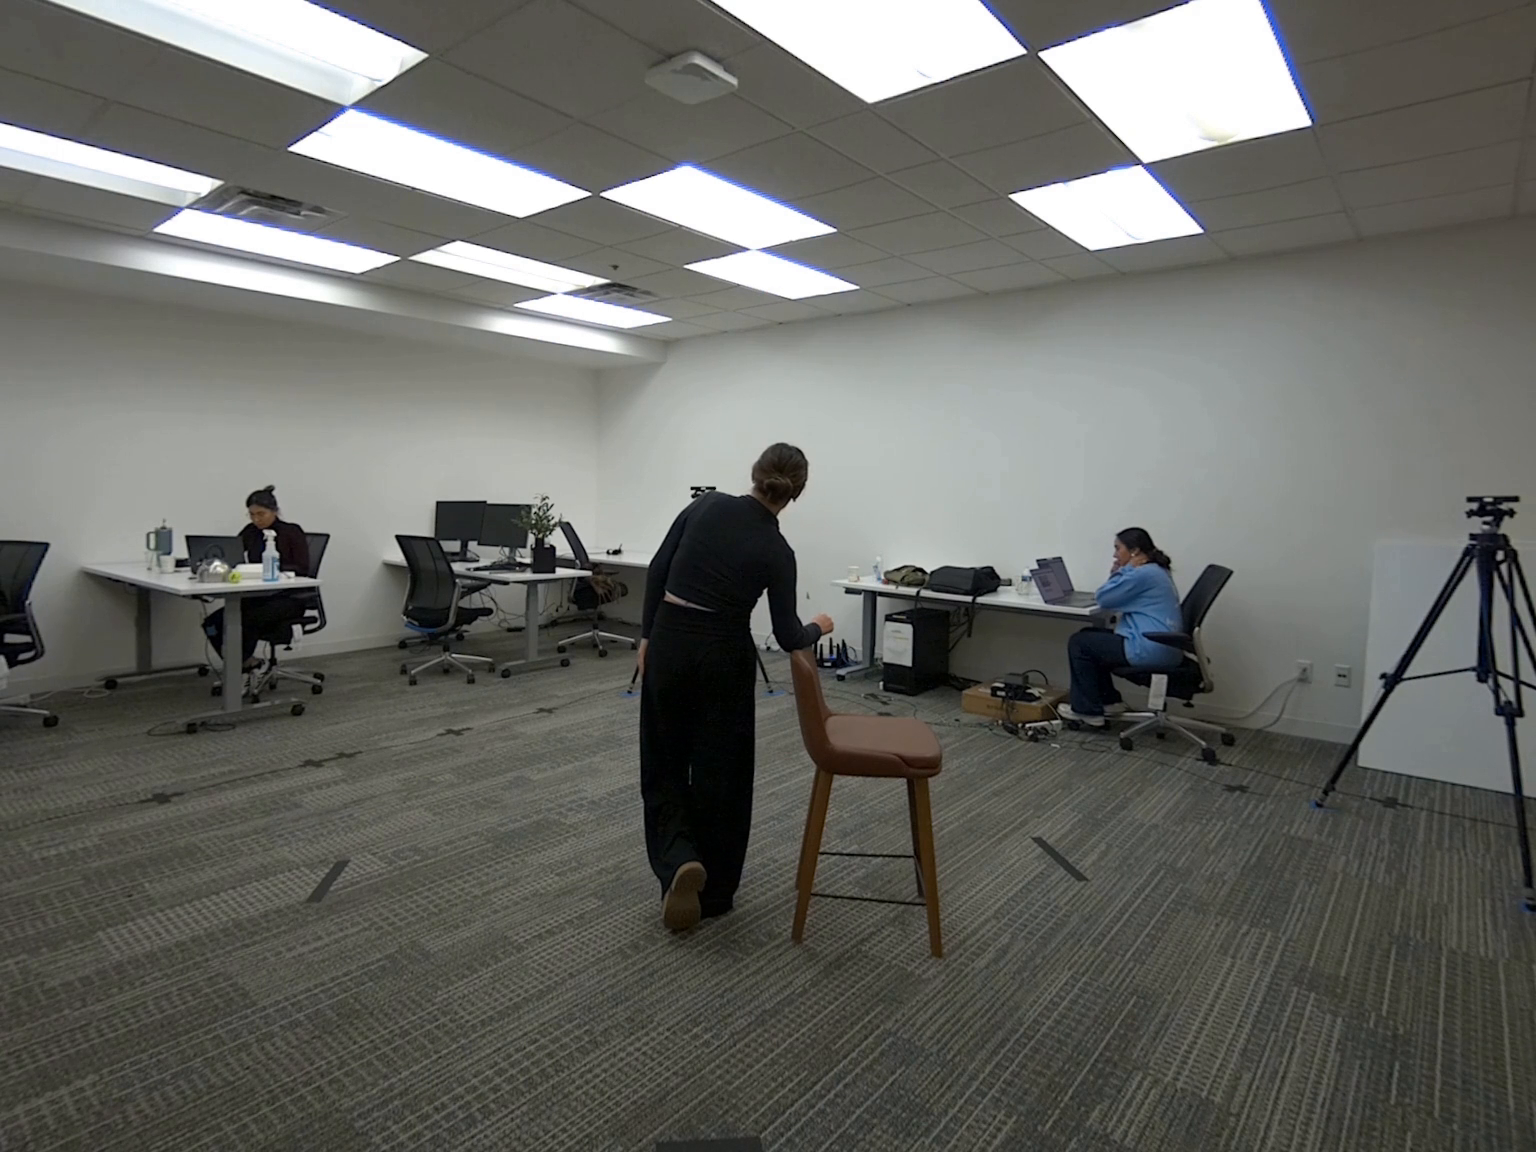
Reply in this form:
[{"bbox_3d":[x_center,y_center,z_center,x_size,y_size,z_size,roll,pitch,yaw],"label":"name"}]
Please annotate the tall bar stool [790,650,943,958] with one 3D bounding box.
[{"bbox_3d":[0.311,0.679,2.742,0.471,0.887,0.454,0,3,6],"label":"tall bar stool"}]
